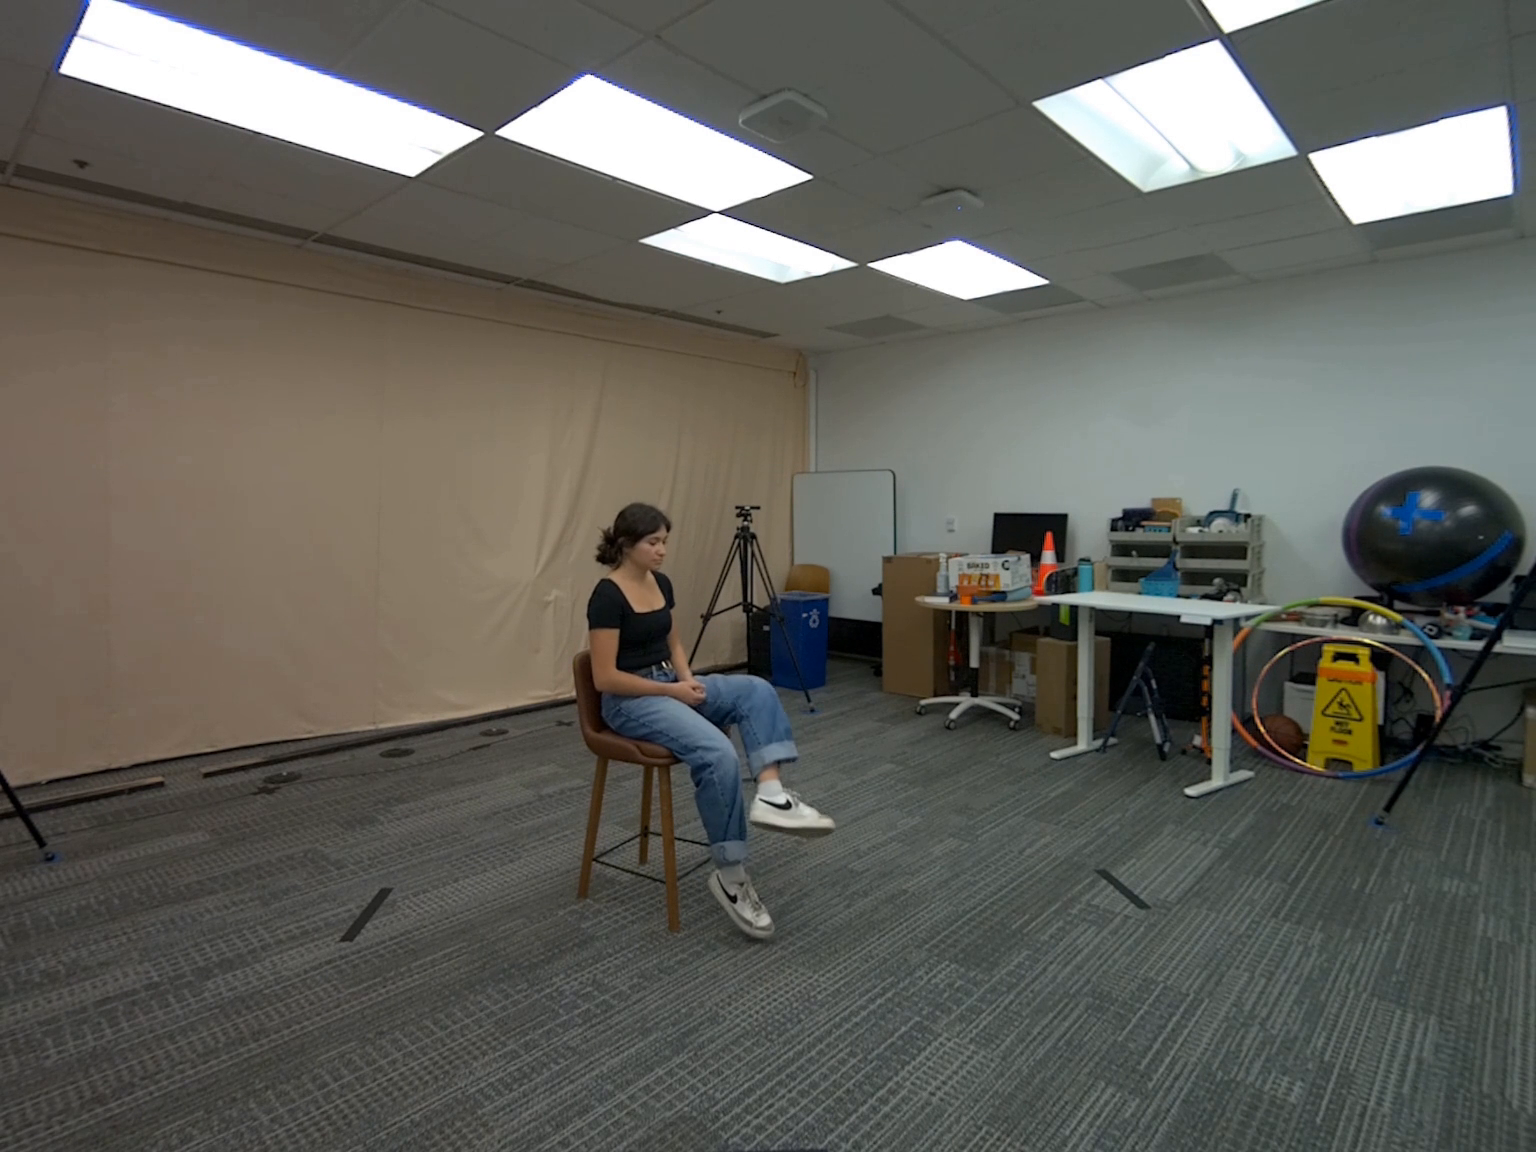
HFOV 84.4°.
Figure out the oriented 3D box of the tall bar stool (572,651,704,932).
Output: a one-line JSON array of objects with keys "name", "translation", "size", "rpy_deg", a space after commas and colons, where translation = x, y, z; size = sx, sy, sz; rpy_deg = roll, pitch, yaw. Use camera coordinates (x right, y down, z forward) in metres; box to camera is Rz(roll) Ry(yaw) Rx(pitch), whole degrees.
[{"name": "tall bar stool", "translation": [-0.408, 0.711, 3.025], "size": [0.481, 0.889, 0.444], "rpy_deg": [-1, 2, 33]}]
